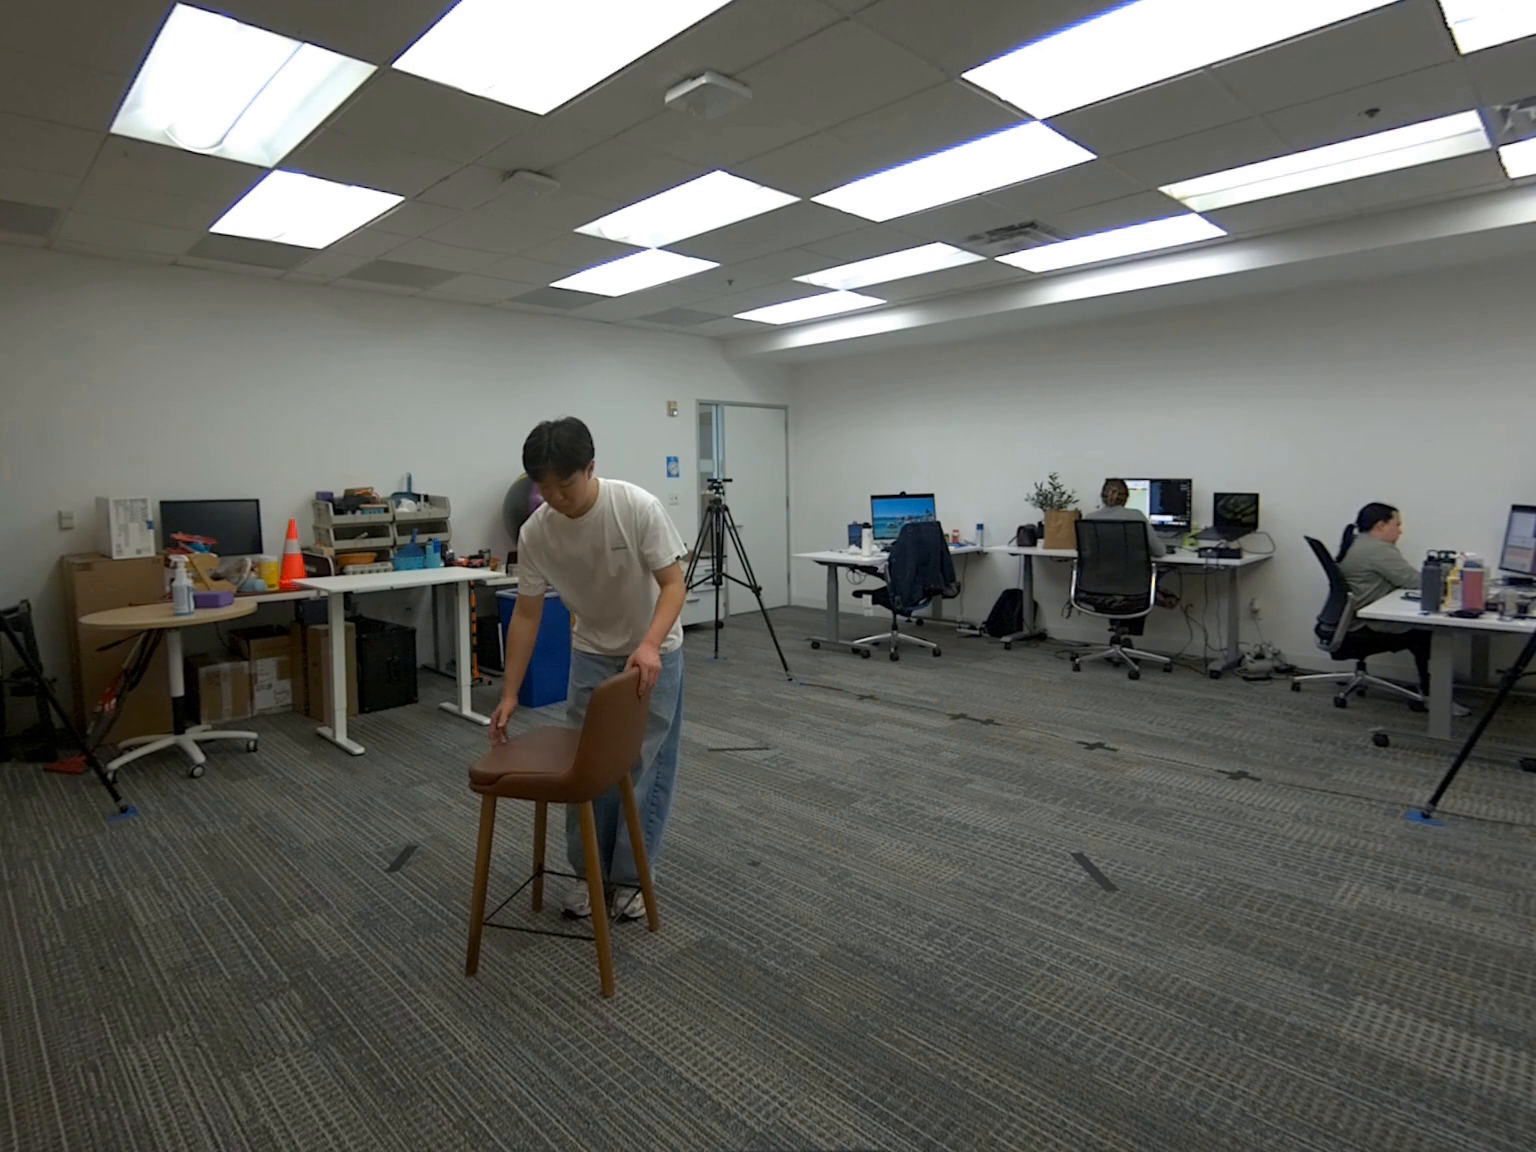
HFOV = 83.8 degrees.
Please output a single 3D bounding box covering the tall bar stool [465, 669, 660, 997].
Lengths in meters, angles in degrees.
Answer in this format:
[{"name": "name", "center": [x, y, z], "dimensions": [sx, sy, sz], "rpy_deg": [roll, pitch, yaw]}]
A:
[{"name": "tall bar stool", "center": [-0.604, 0.690, 2.528], "dimensions": [0.475, 0.885, 0.451], "rpy_deg": [3, 6, 16]}]
